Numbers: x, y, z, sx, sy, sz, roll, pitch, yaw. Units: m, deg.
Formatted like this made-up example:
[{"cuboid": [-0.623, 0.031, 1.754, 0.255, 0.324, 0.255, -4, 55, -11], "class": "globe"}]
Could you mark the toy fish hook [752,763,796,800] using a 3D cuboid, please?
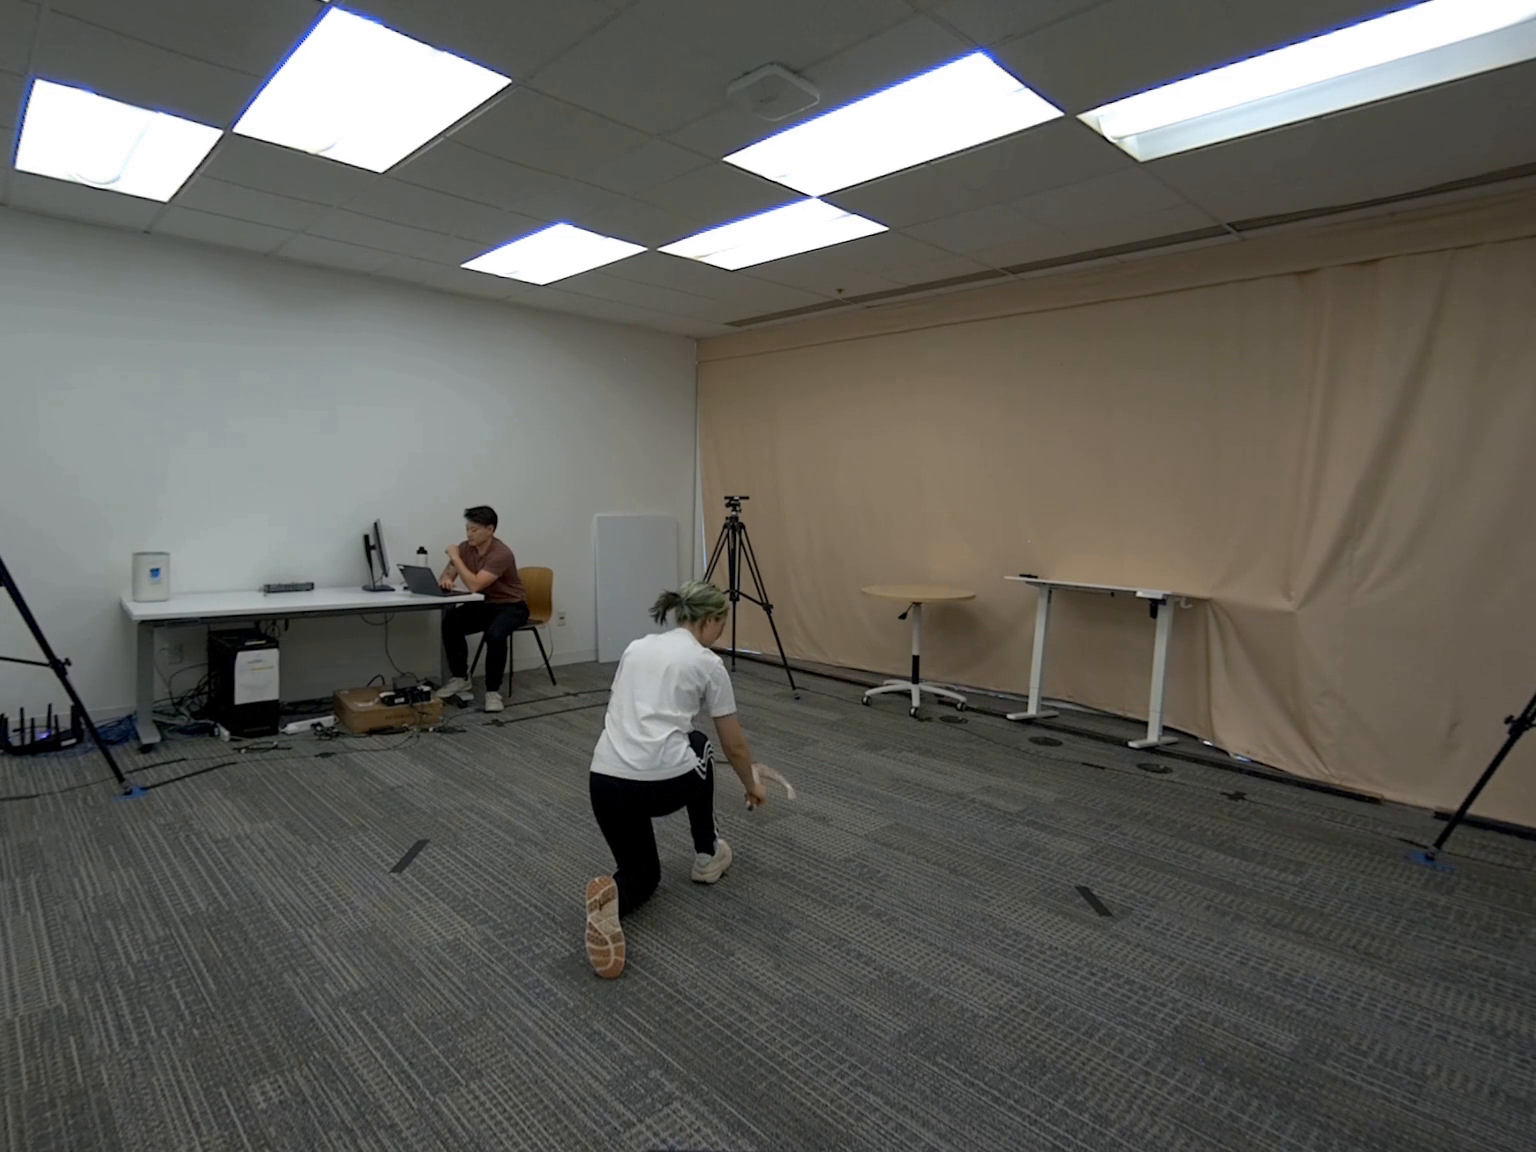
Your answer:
[{"cuboid": [-0.002, 0.865, 3.339, 0.226, 0.048, 0.504, 26, 8, 5], "class": "toy fish hook"}]
